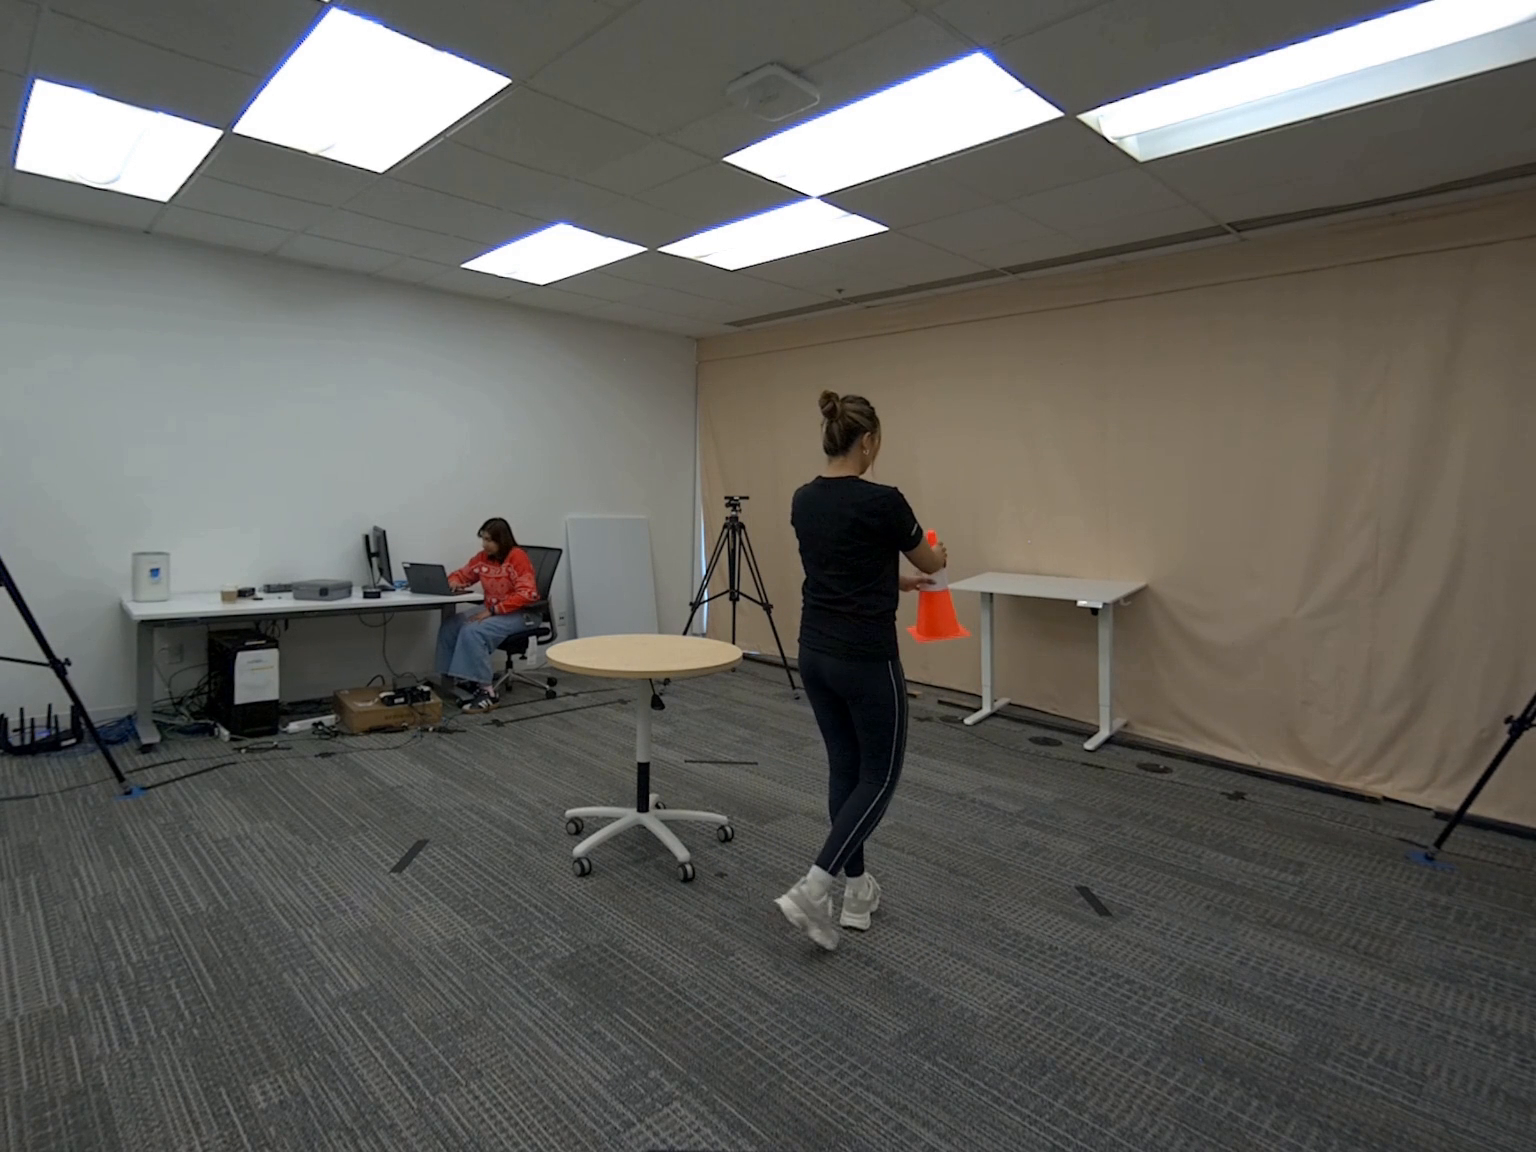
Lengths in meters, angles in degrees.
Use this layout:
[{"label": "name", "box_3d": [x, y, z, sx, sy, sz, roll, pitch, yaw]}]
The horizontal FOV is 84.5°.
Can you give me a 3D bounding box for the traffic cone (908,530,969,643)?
[{"label": "traffic cone", "box_3d": [0.612, 0.027, 3.096, 0.205, 0.381, 0.204, -1, 9, 12]}]
